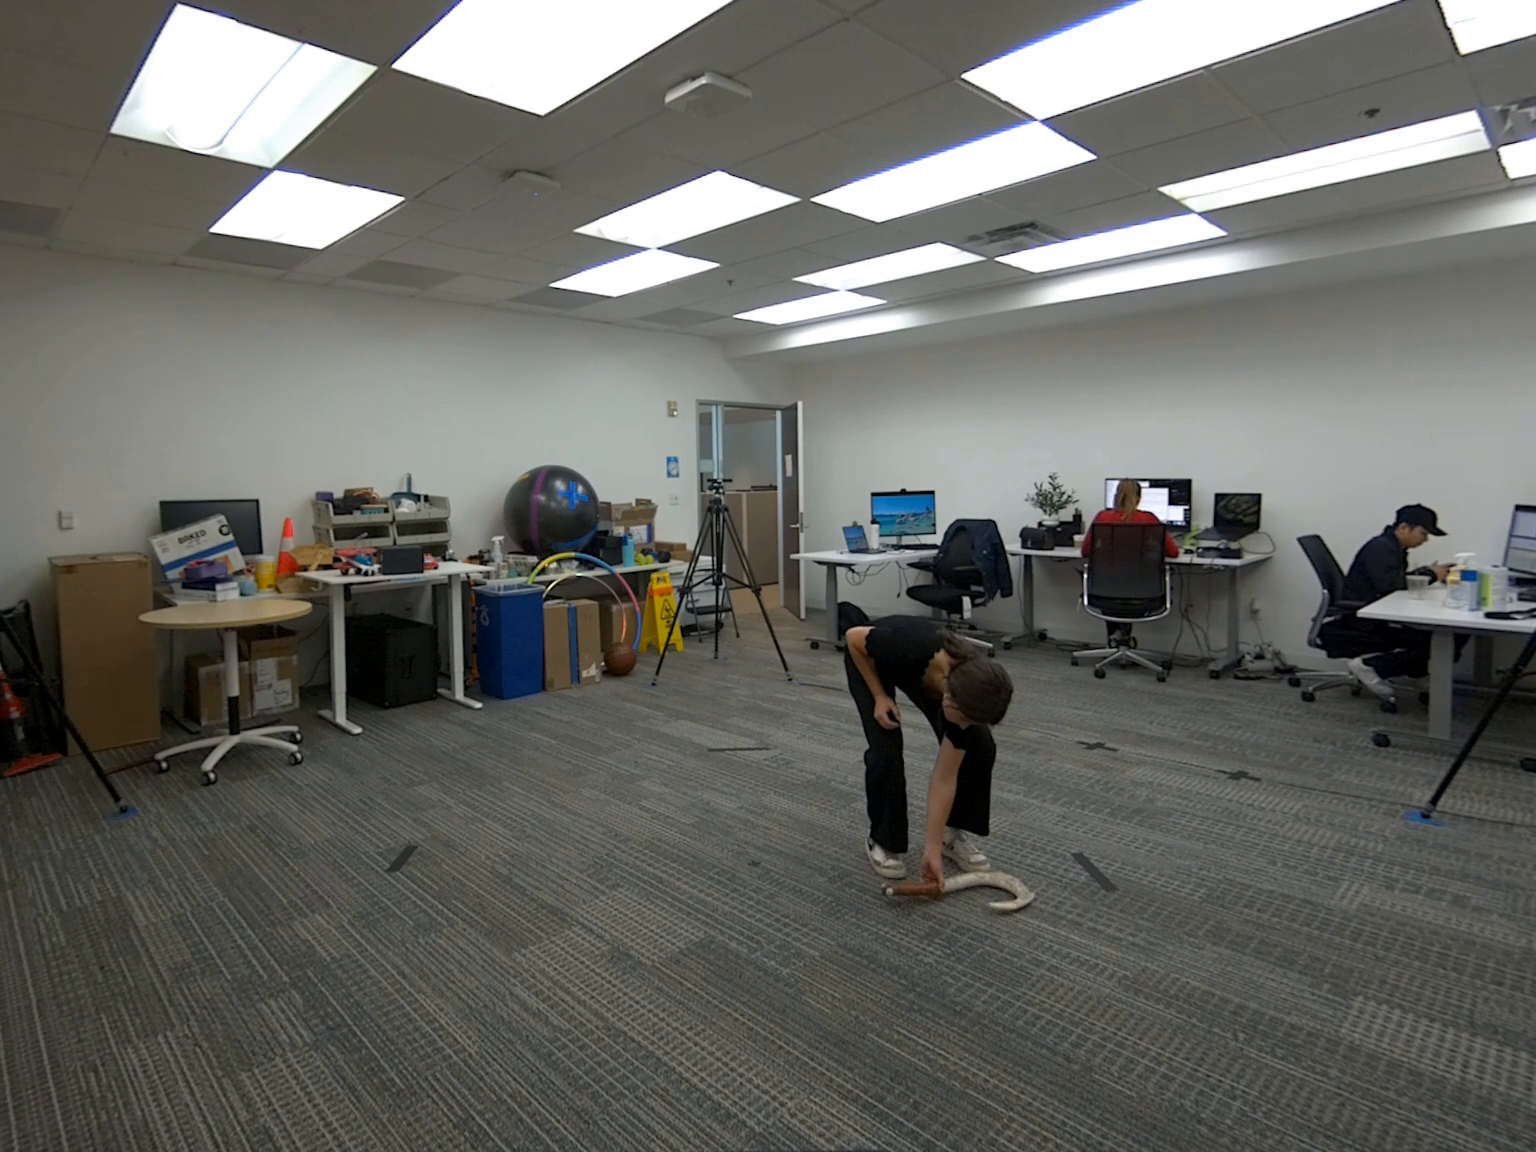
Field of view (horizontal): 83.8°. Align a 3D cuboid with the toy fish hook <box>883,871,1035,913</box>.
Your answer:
[{"bbox_3d":[0.633,1.029,2.787,0.498,0.048,0.228,0,3,-17],"label":"toy fish hook"}]
